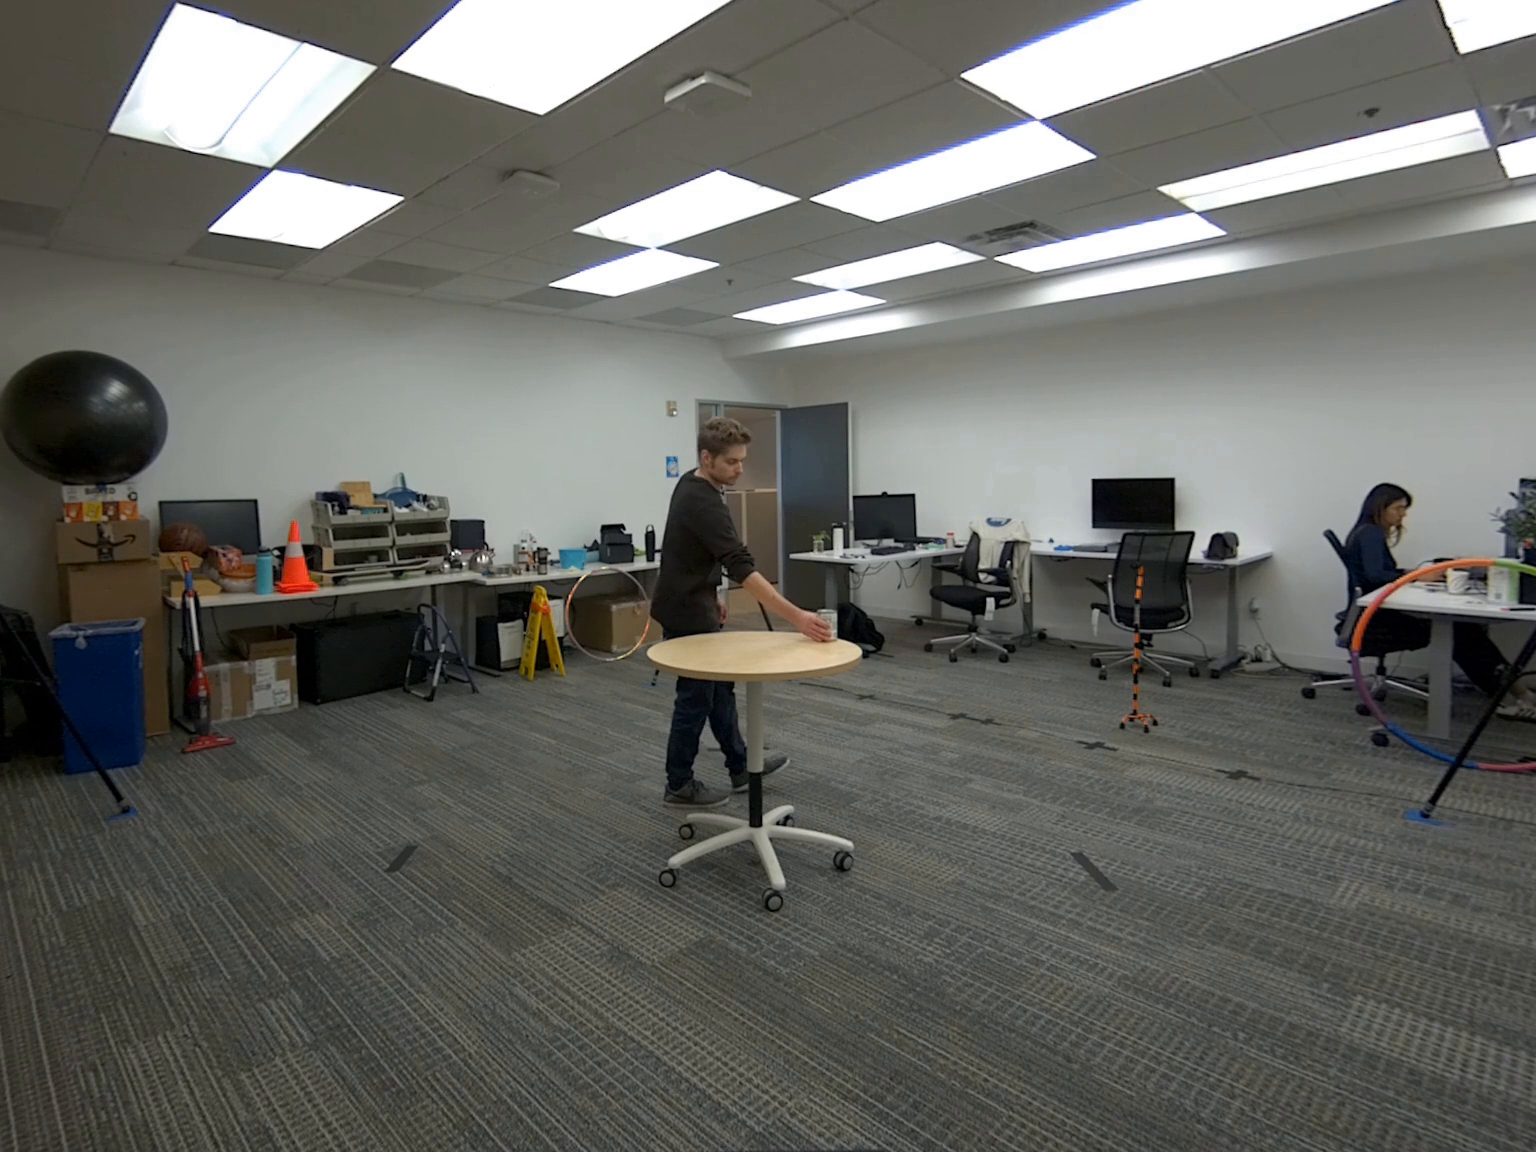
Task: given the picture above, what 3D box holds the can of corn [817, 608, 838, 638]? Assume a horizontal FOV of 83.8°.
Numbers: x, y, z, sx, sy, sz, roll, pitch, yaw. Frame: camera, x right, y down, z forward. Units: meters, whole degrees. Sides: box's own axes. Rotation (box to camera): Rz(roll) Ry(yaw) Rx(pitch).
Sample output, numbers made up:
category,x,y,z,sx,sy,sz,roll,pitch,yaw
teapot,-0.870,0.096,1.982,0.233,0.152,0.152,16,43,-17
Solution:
category,x,y,z,sx,sy,sz,roll,pitch,yaw
can of corn,0.220,0.186,3.218,0.074,0.111,0.074,0,2,-2
